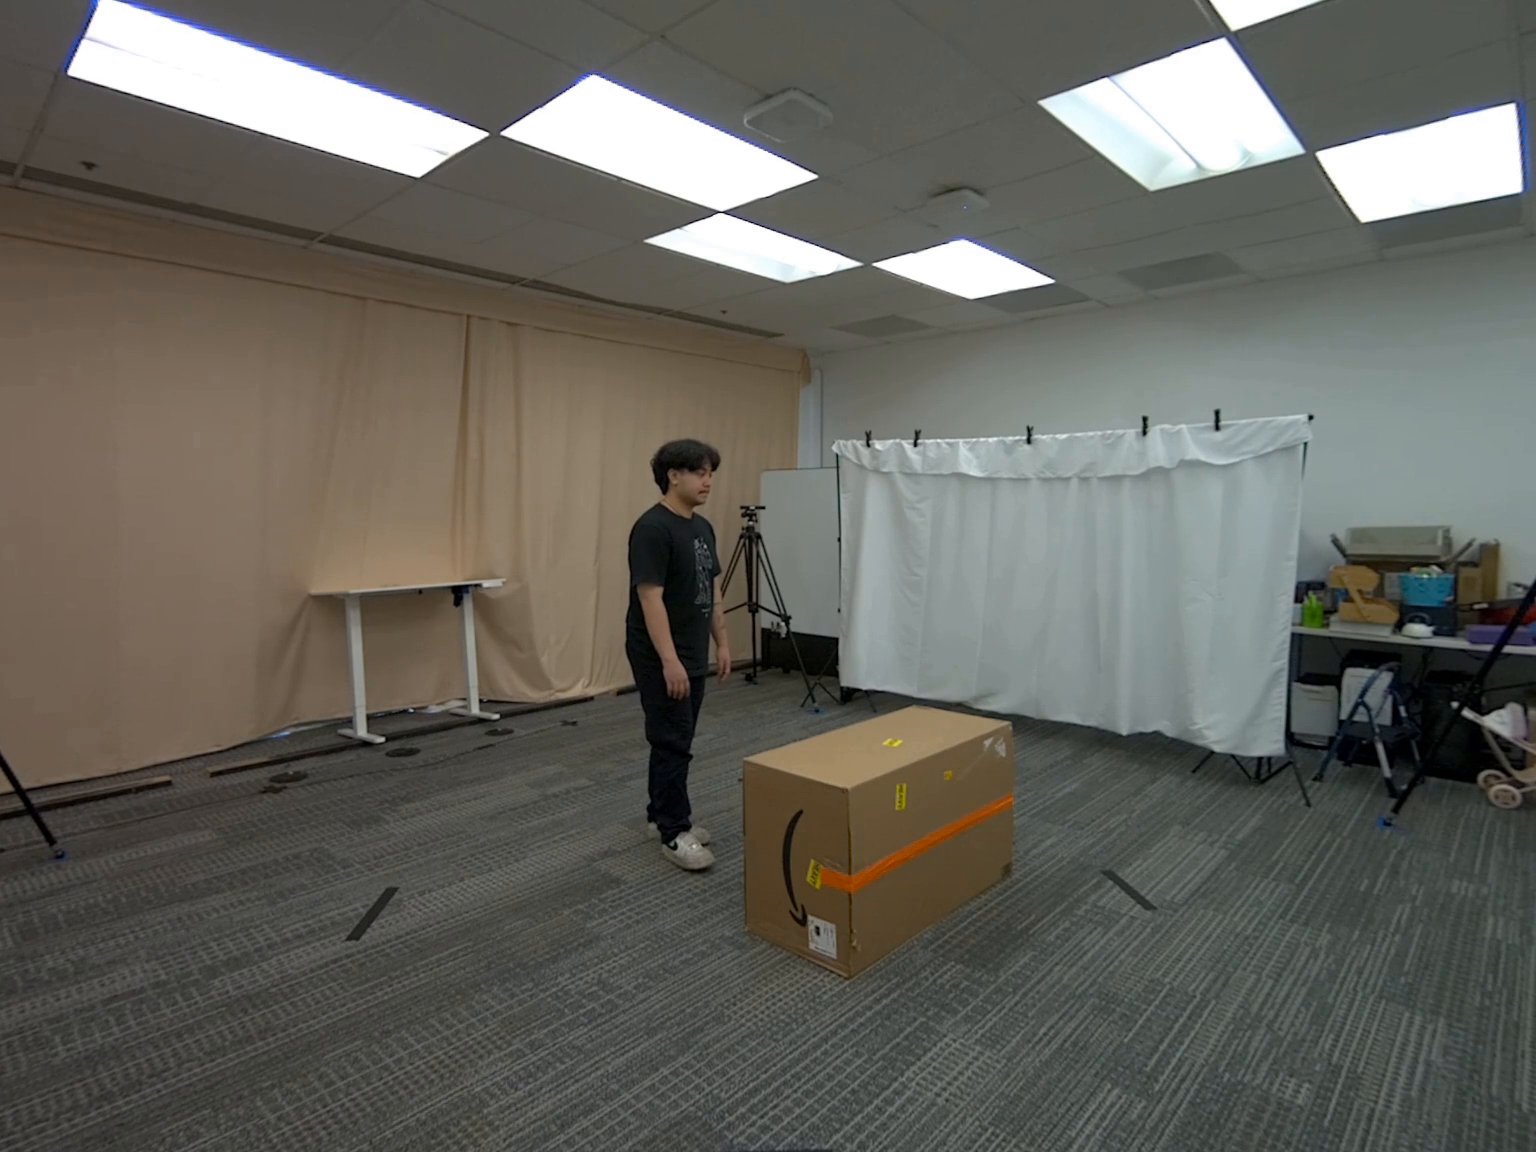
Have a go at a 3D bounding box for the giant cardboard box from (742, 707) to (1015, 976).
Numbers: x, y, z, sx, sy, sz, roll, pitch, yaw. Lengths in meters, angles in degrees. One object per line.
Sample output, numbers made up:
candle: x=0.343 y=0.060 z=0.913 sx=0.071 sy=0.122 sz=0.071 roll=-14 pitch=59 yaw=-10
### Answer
giant cardboard box: x=0.424 y=0.860 z=2.952 sx=0.462 sy=0.582 sz=0.996 roll=4 pitch=7 yaw=44
